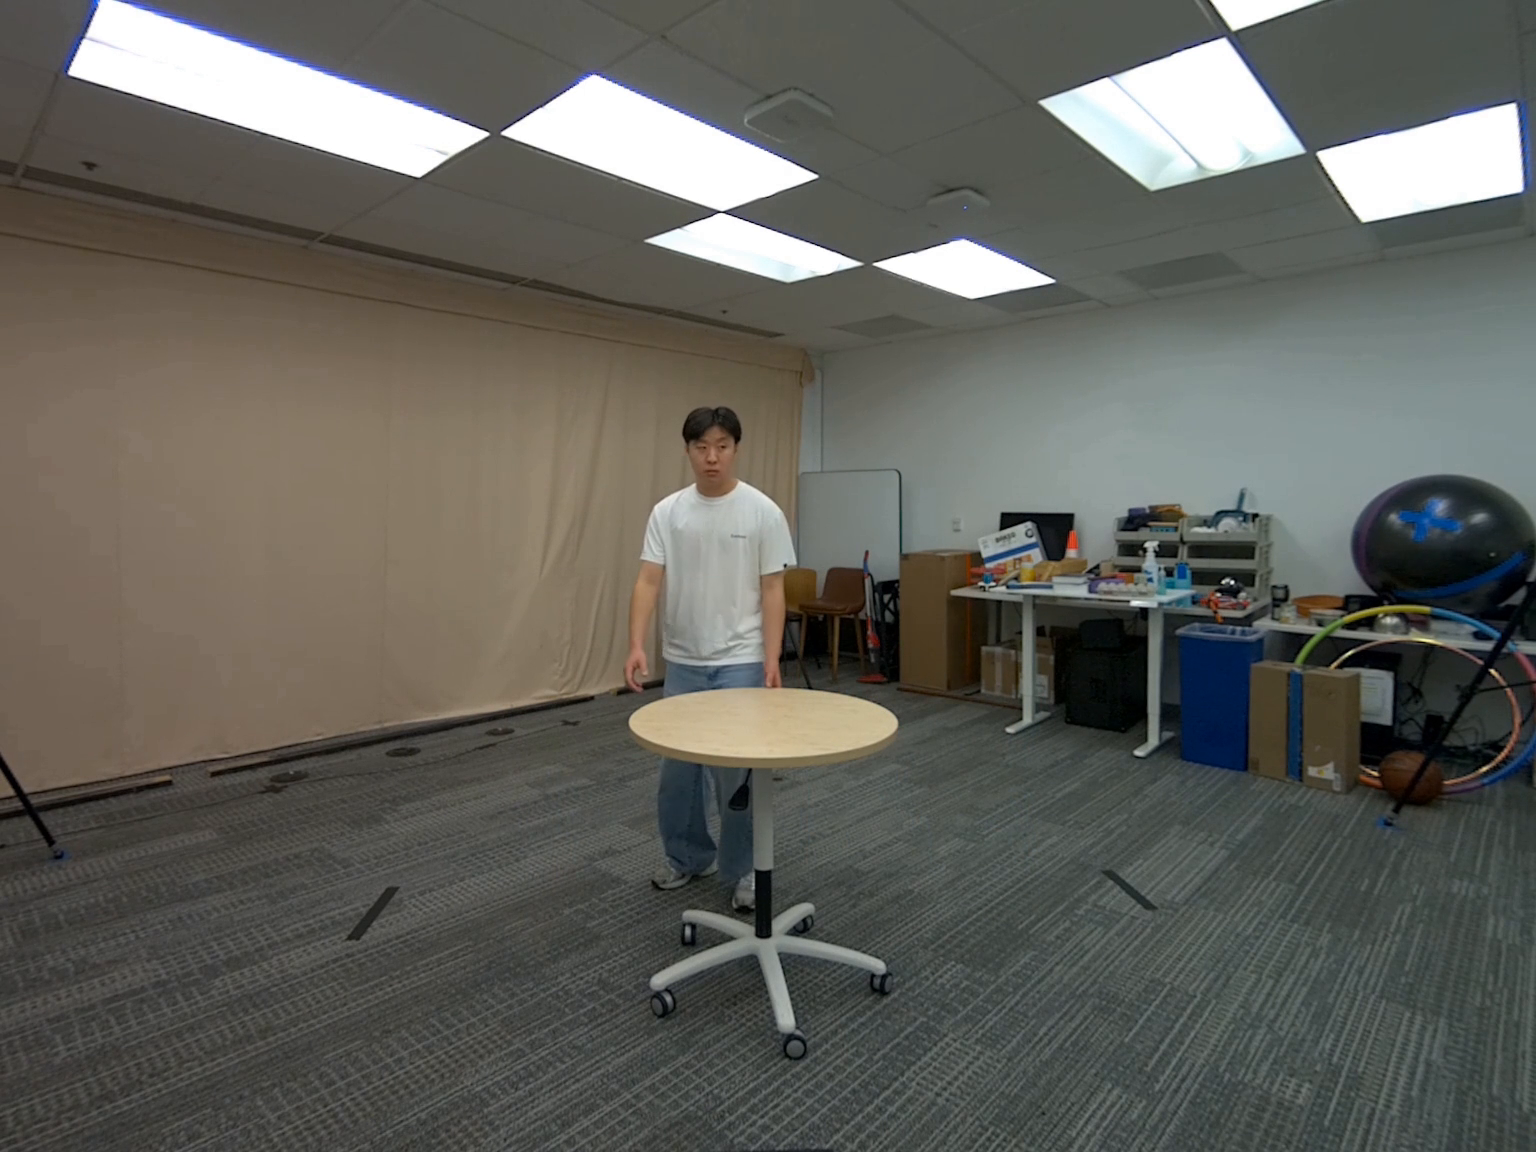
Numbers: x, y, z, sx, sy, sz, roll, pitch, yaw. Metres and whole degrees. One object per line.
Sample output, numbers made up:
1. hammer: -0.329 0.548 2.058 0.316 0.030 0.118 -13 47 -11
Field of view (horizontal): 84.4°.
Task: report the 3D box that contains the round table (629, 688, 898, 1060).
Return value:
1. round table: -0.019 0.794 2.442 0.784 0.785 0.788 0 4 -2
